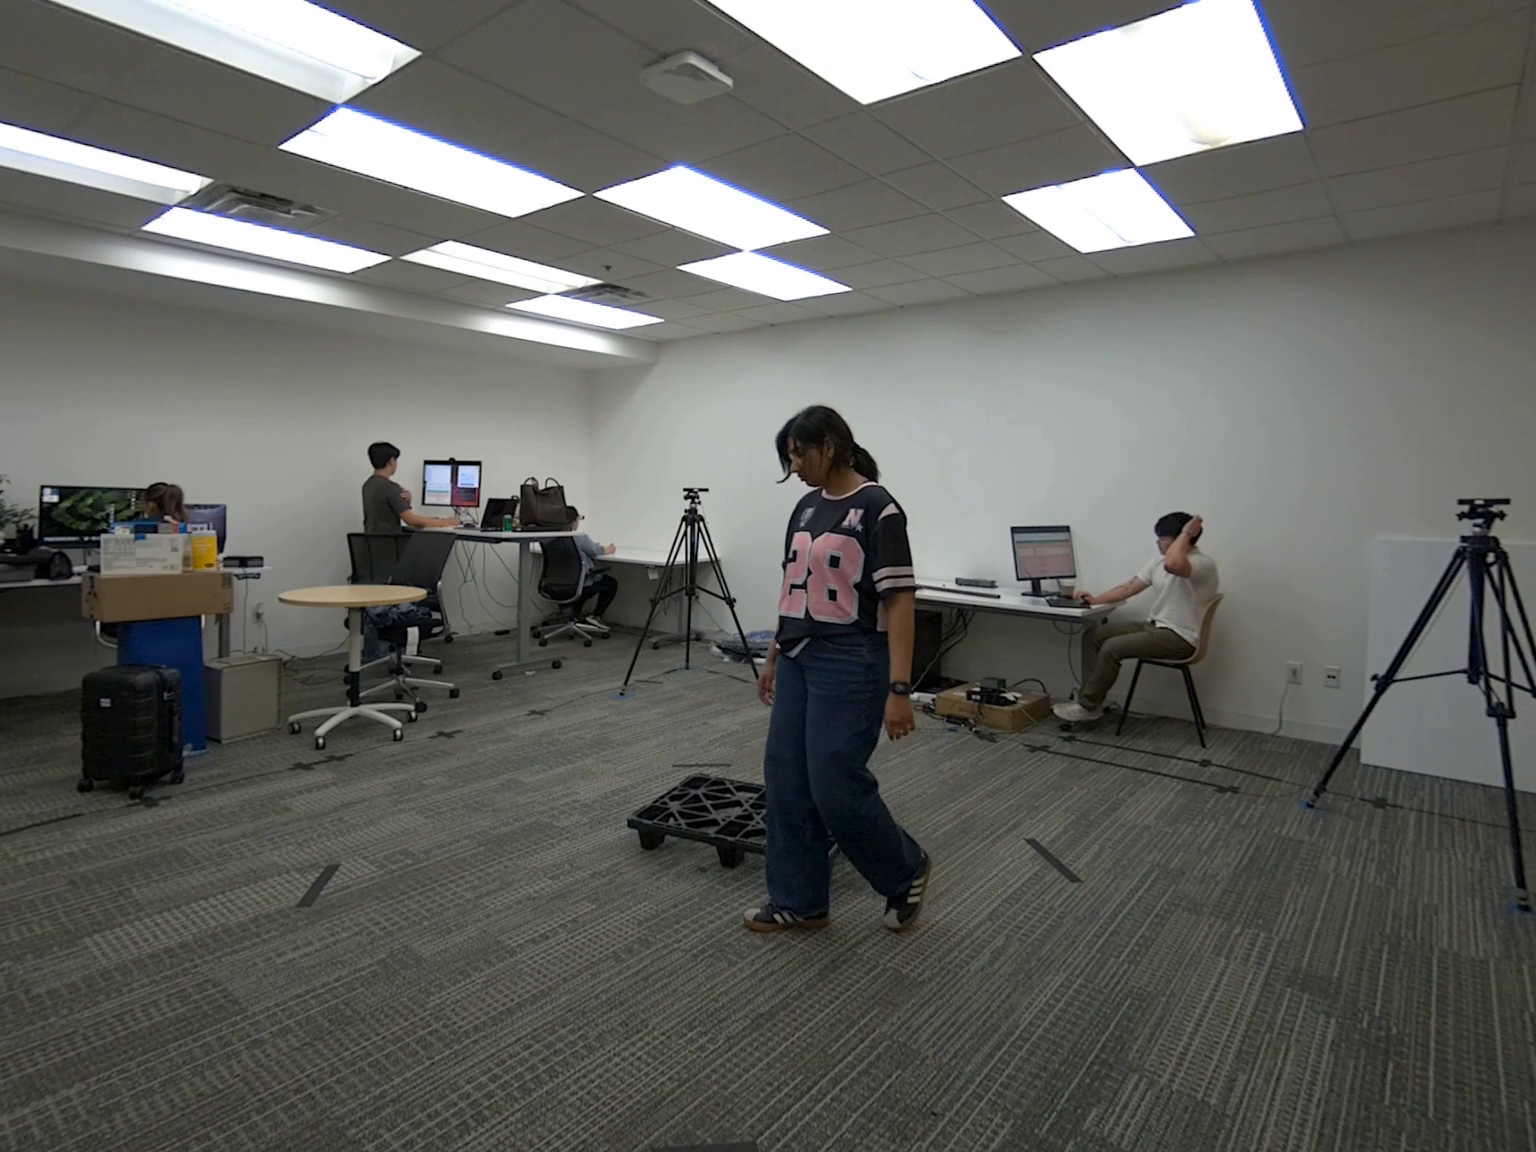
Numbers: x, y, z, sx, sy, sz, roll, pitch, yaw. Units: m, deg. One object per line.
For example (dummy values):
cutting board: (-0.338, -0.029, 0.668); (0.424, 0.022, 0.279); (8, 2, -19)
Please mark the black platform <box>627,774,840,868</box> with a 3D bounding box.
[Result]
black platform: (-0.078, 0.980, 3.340); (0.825, 0.143, 0.592); (3, 5, 23)
